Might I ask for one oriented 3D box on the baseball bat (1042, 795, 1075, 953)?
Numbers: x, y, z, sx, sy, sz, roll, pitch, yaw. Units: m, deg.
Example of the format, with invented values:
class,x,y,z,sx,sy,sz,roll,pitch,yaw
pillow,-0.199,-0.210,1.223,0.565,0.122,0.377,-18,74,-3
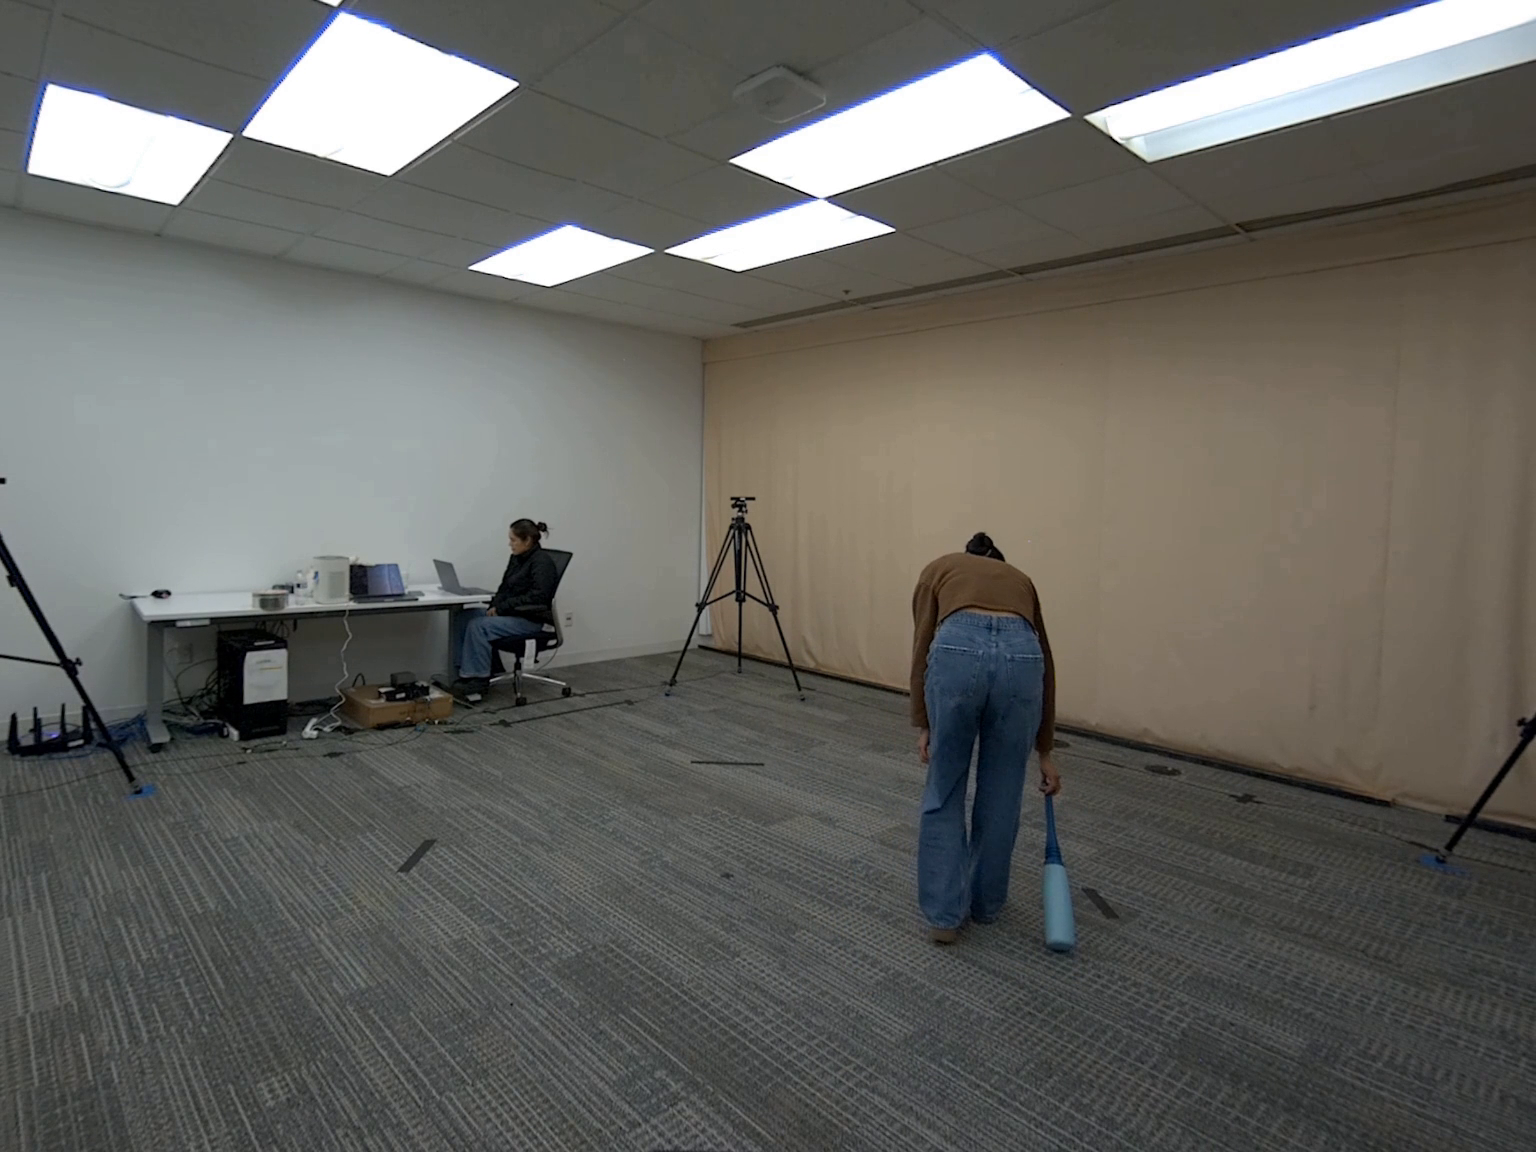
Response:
class,x,y,z,sx,sy,sz,roll,pitch,yaw
baseball bat,0.940,0.949,2.784,0.089,0.552,0.087,7,-39,4
